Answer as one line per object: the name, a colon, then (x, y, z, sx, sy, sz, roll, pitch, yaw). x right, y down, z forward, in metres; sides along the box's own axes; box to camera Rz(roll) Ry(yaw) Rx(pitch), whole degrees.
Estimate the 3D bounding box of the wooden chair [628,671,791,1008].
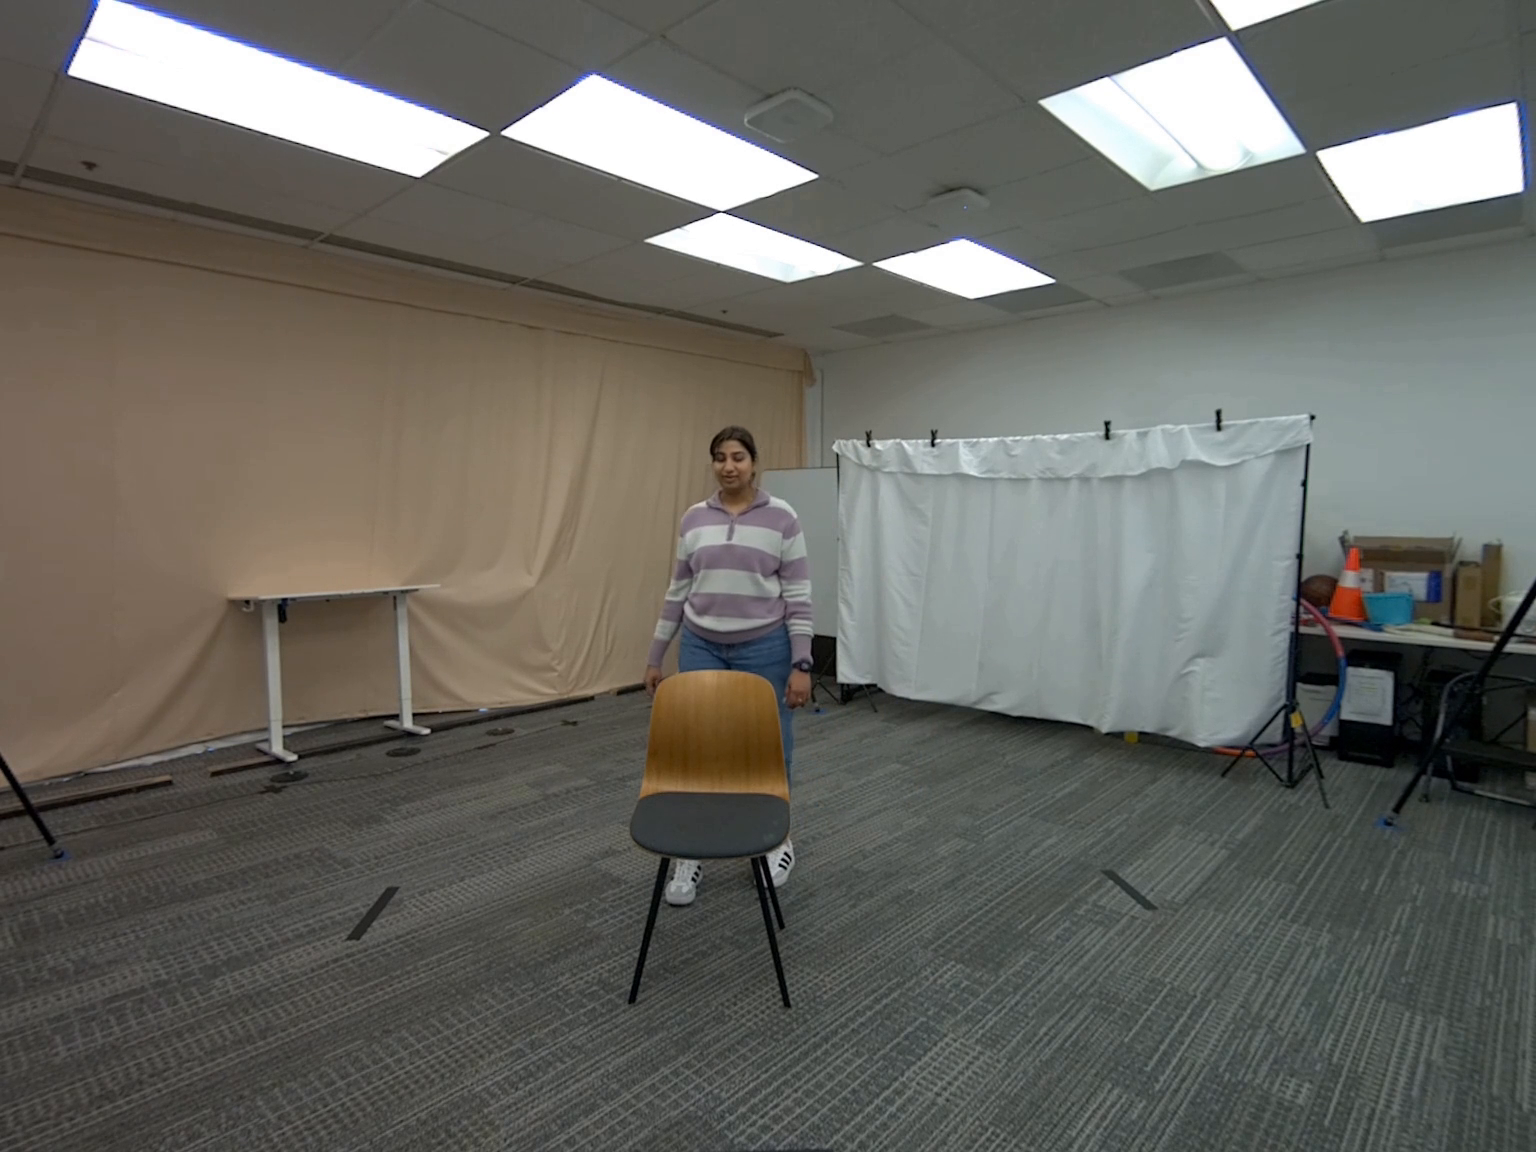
wooden chair: (-0.154, 0.748, 2.532, 0.479, 0.878, 0.522, 1, -1, 1)
